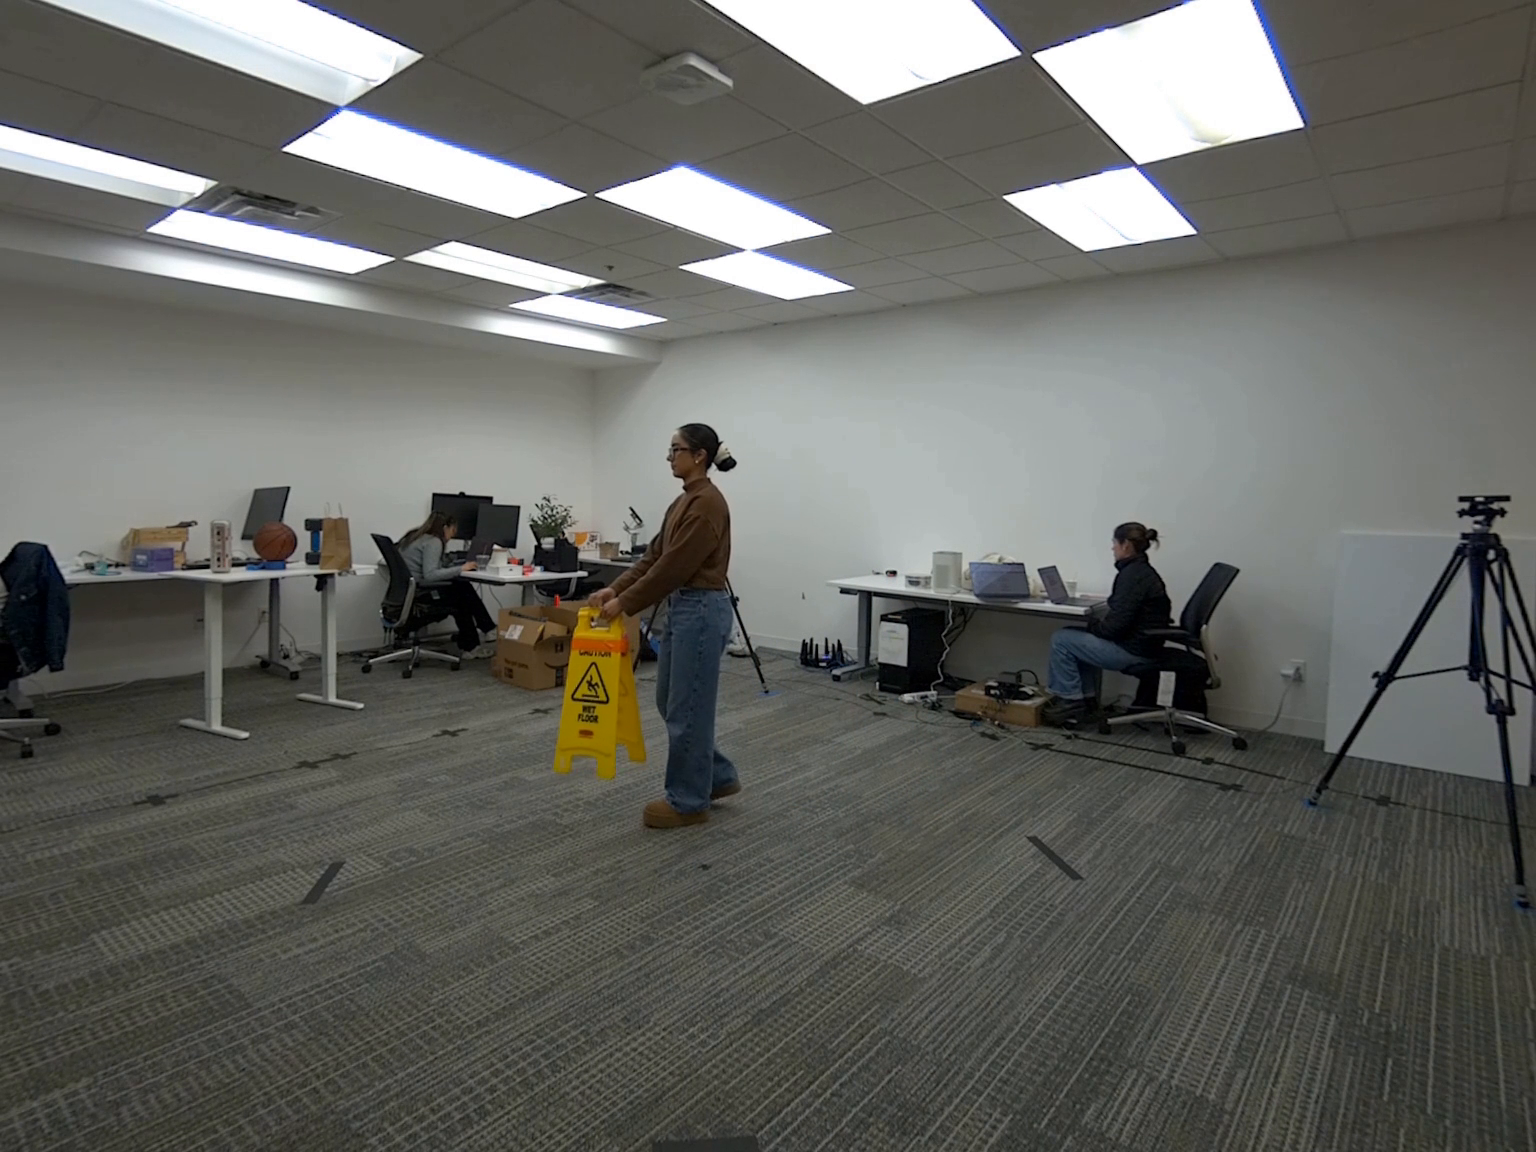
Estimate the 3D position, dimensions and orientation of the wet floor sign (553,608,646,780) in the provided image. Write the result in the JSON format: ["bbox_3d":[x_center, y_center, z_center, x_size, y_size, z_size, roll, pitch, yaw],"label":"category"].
[{"bbox_3d":[-0.694,0.455,3.477,0.288,0.646,0.283,1,0,21],"label":"wet floor sign"}]
